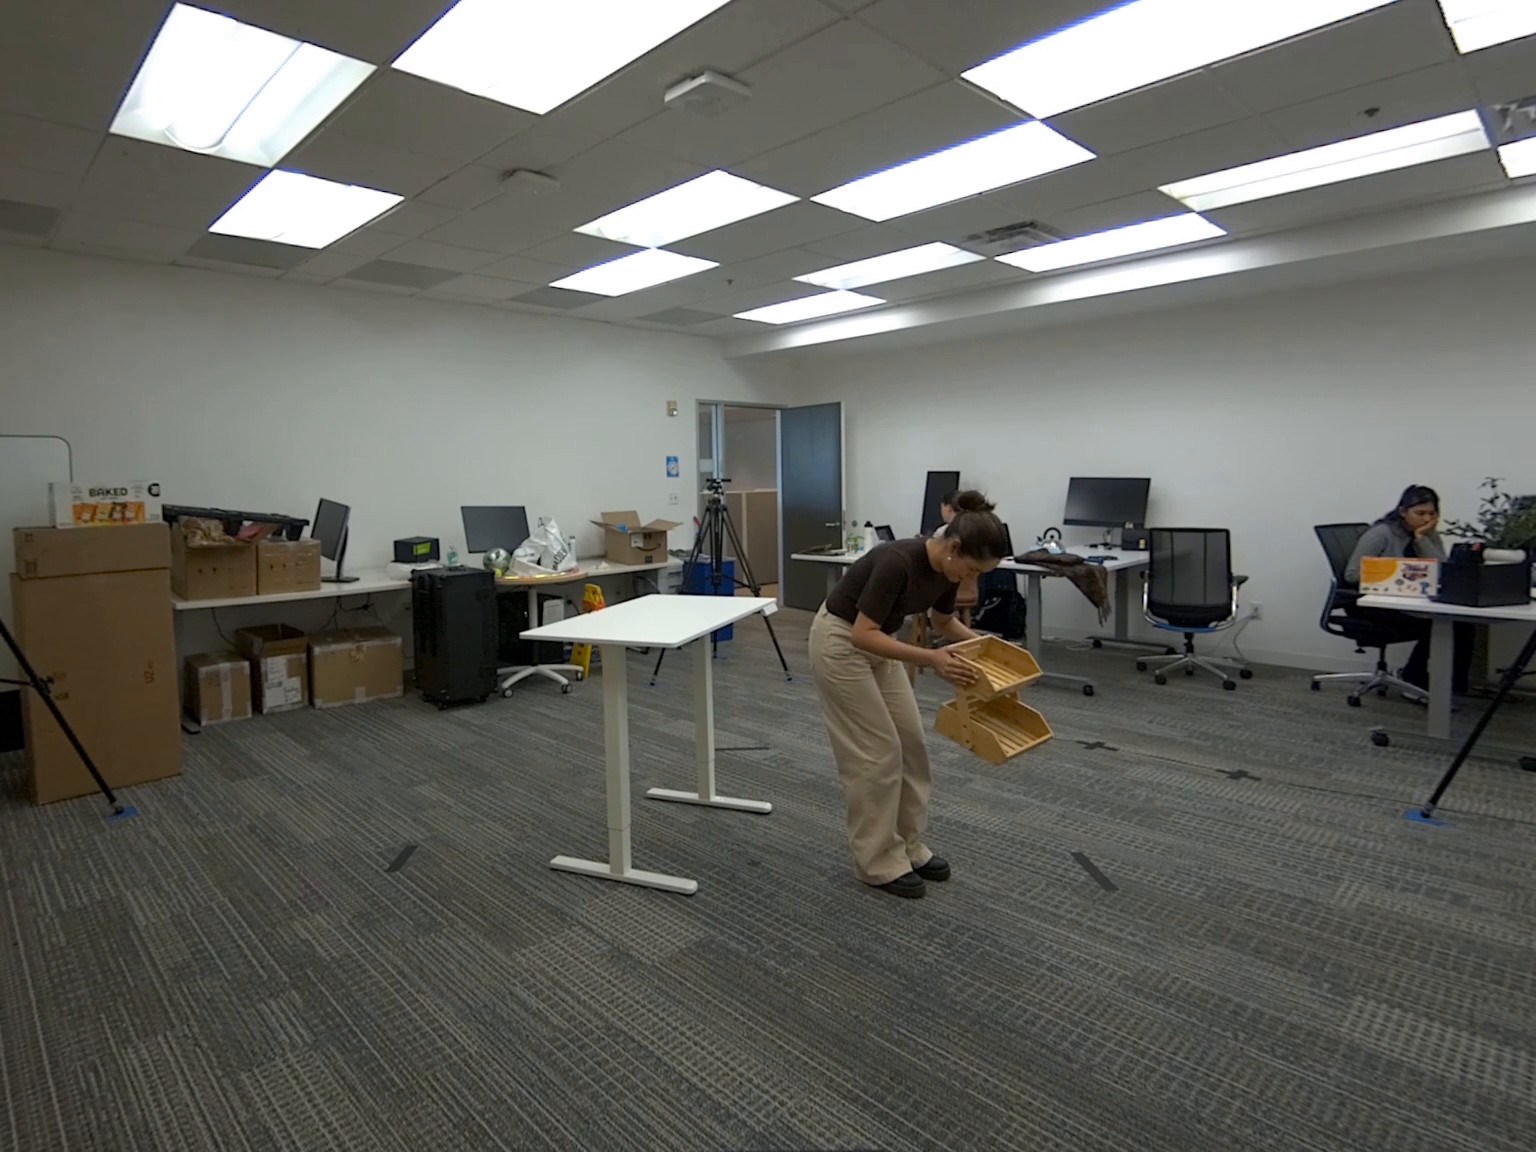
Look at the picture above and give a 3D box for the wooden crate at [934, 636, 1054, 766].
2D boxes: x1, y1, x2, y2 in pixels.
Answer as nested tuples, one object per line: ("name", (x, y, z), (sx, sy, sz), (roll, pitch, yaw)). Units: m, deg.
("wooden crate", (0.731, 0.384, 2.678), (0.316, 0.270, 0.313), (-7, 24, -45))
